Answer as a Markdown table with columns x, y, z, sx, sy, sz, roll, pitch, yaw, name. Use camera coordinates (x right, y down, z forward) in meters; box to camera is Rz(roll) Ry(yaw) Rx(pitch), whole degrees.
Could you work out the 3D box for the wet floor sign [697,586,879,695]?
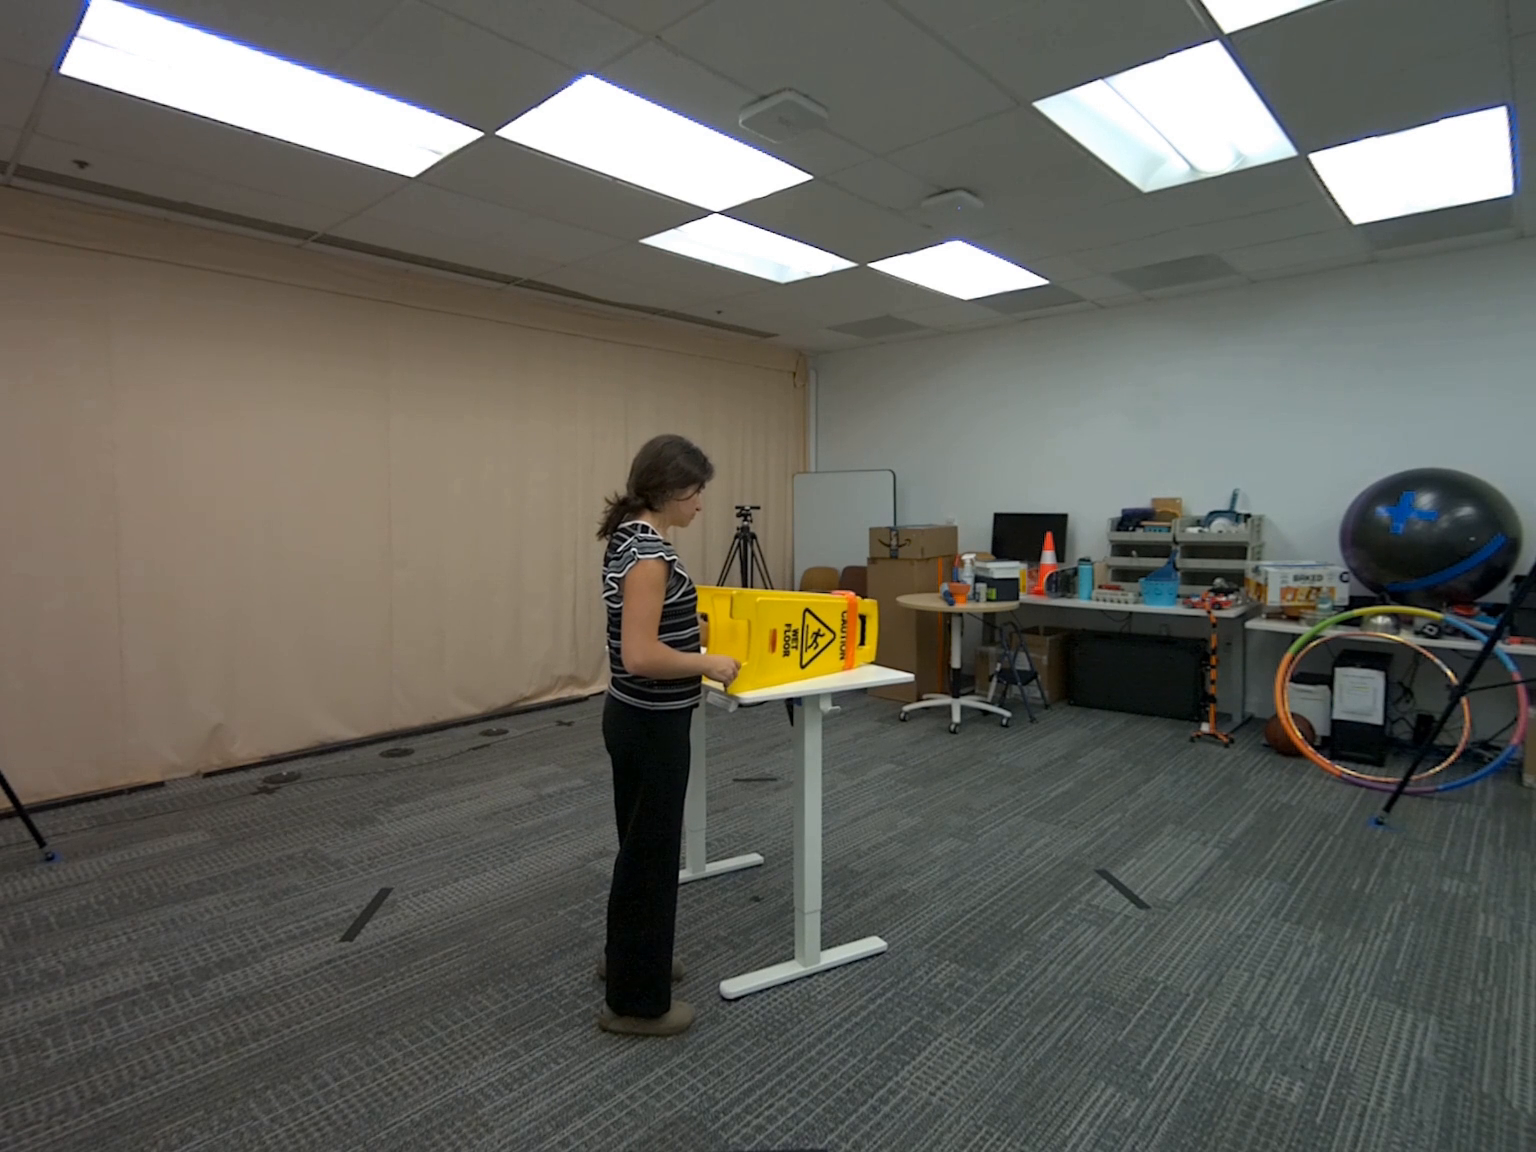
| x | y | z | sx | sy | sz | roll | pitch | yaw | name |
| --- | --- | --- | --- | --- | --- | --- | --- | --- | --- |
| 0.092 | 0.177 | 2.517 | 0.626 | 0.282 | 0.299 | 0 | 4 | -36 | wet floor sign |
